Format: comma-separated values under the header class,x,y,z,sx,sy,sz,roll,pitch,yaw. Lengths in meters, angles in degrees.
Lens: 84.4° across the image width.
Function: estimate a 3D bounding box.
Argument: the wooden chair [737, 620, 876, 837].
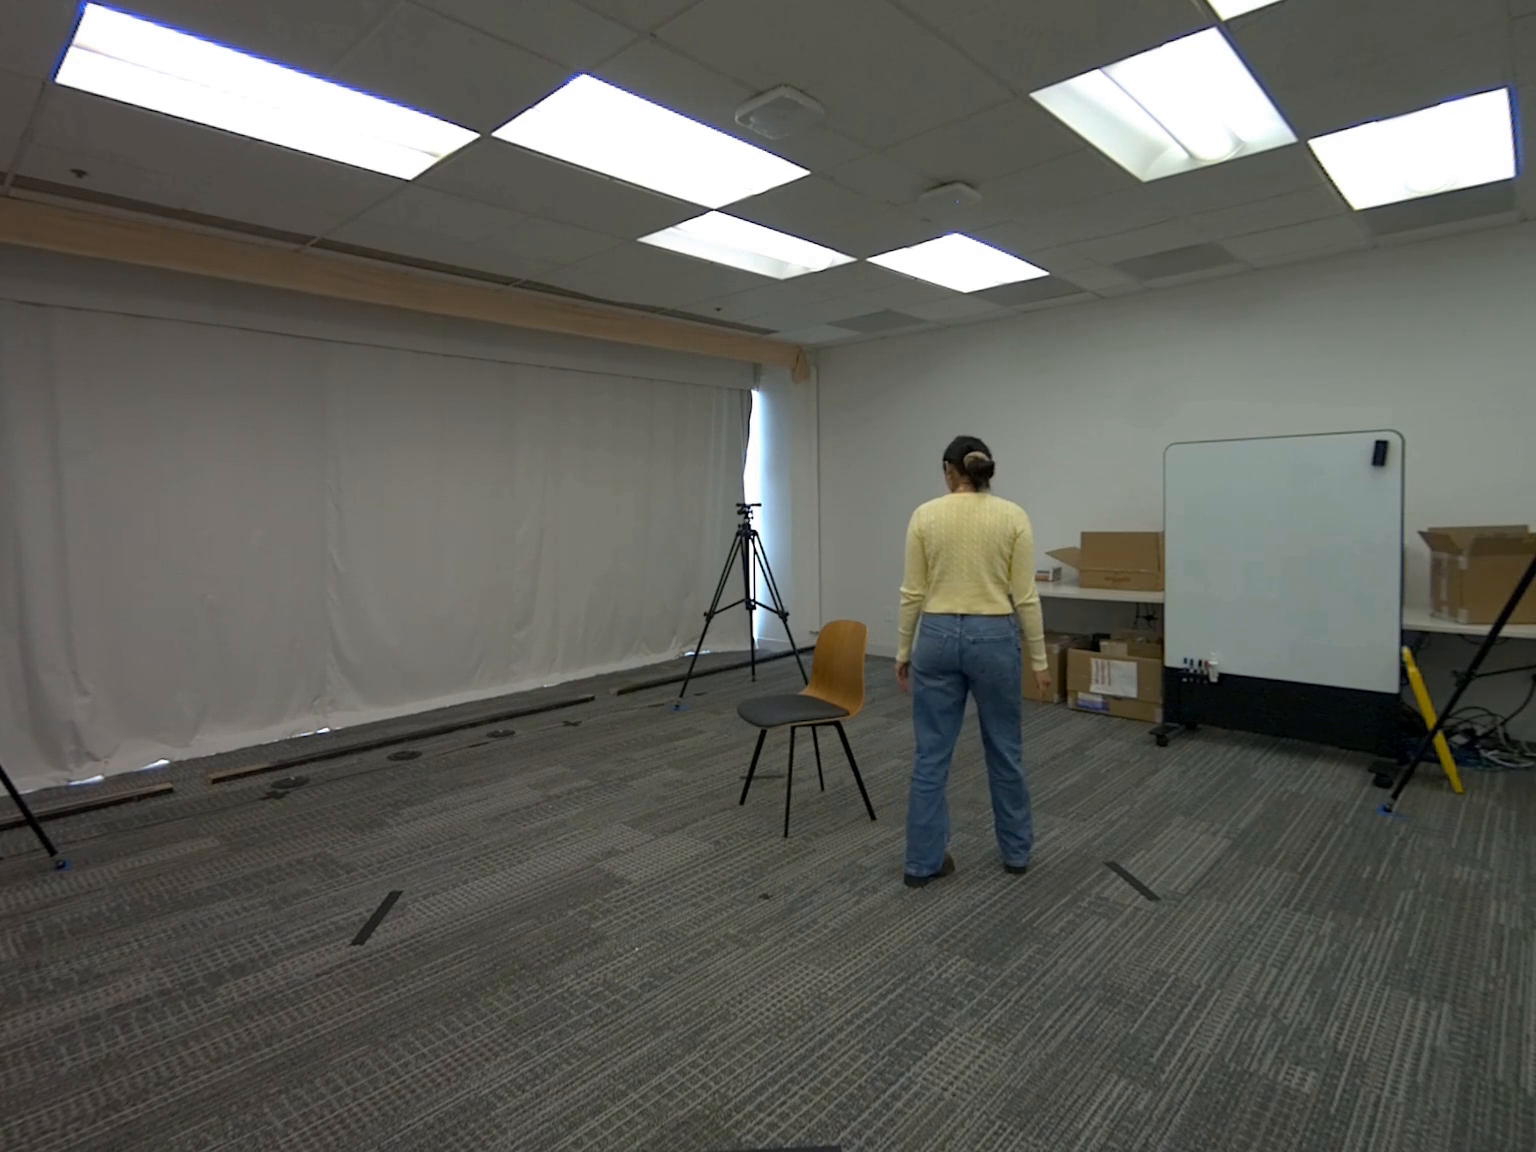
class,x,y,z,sx,sy,sz,roll,pitch,yaw
wooden chair,0.156,0.639,3.753,0.510,0.876,0.491,2,2,-26
